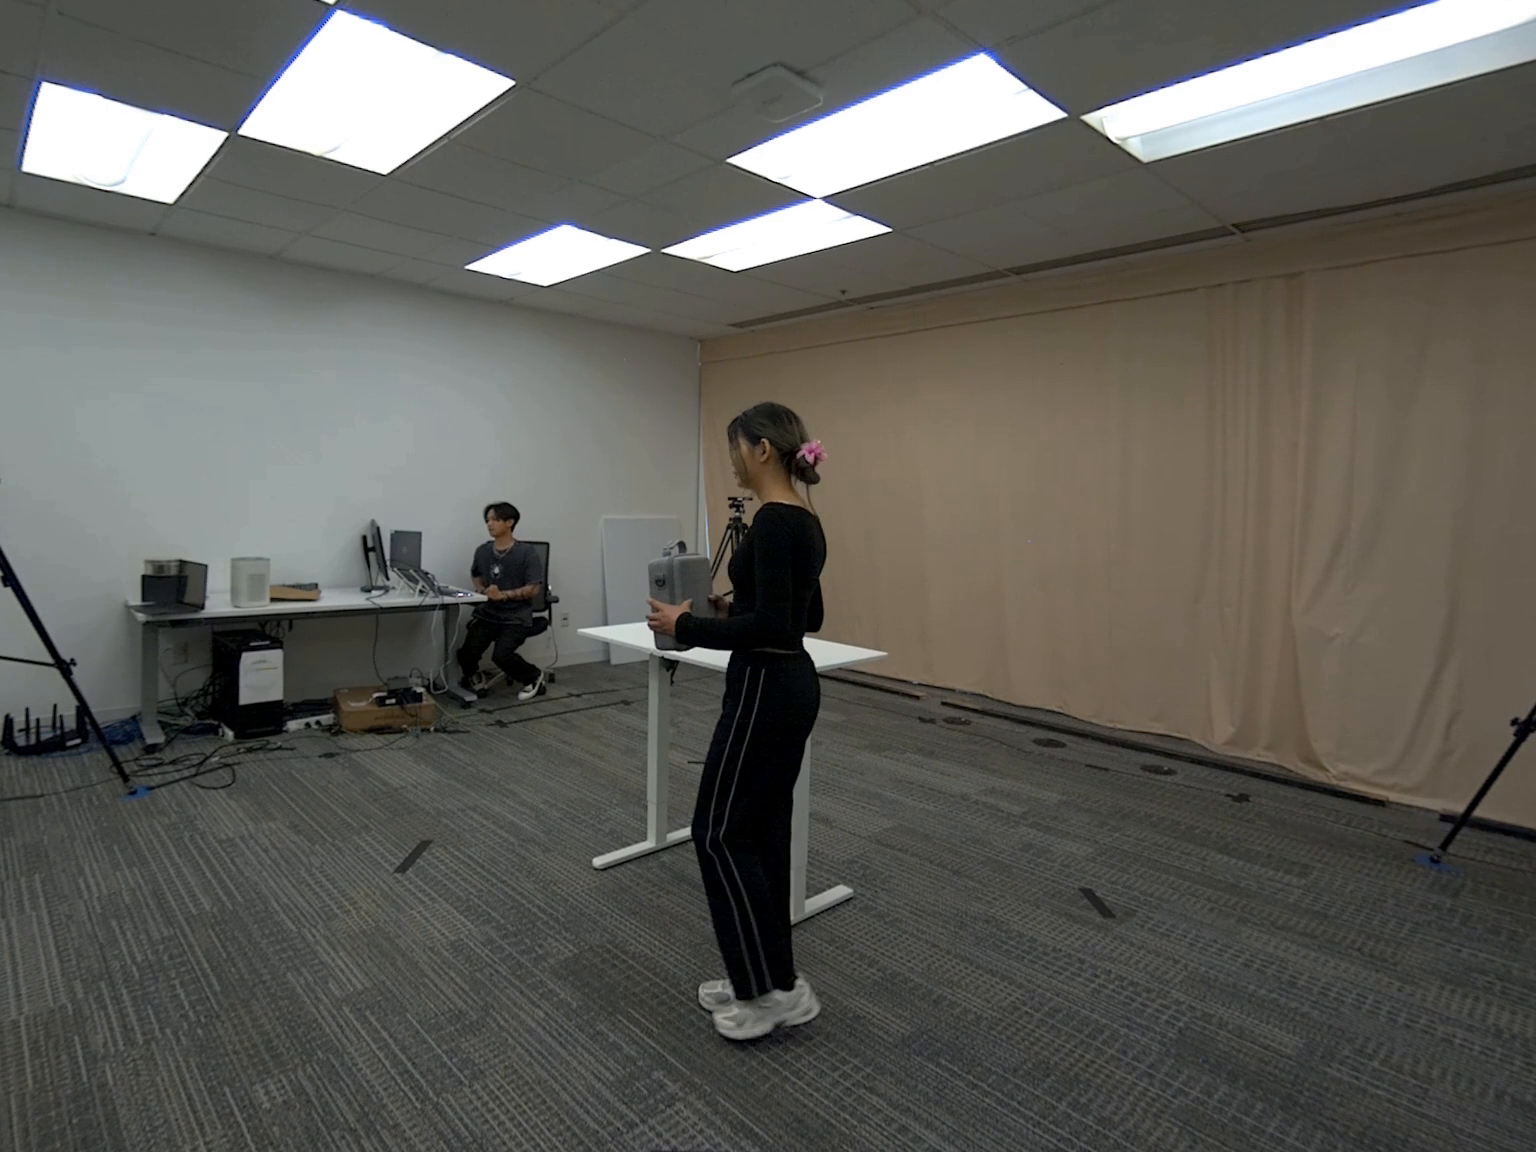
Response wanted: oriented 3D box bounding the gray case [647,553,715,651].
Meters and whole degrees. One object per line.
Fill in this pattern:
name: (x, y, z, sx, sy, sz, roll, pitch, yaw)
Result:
gray case: (-0.235, 0.067, 2.314, 0.105, 0.261, 0.254, -7, -1, 16)
